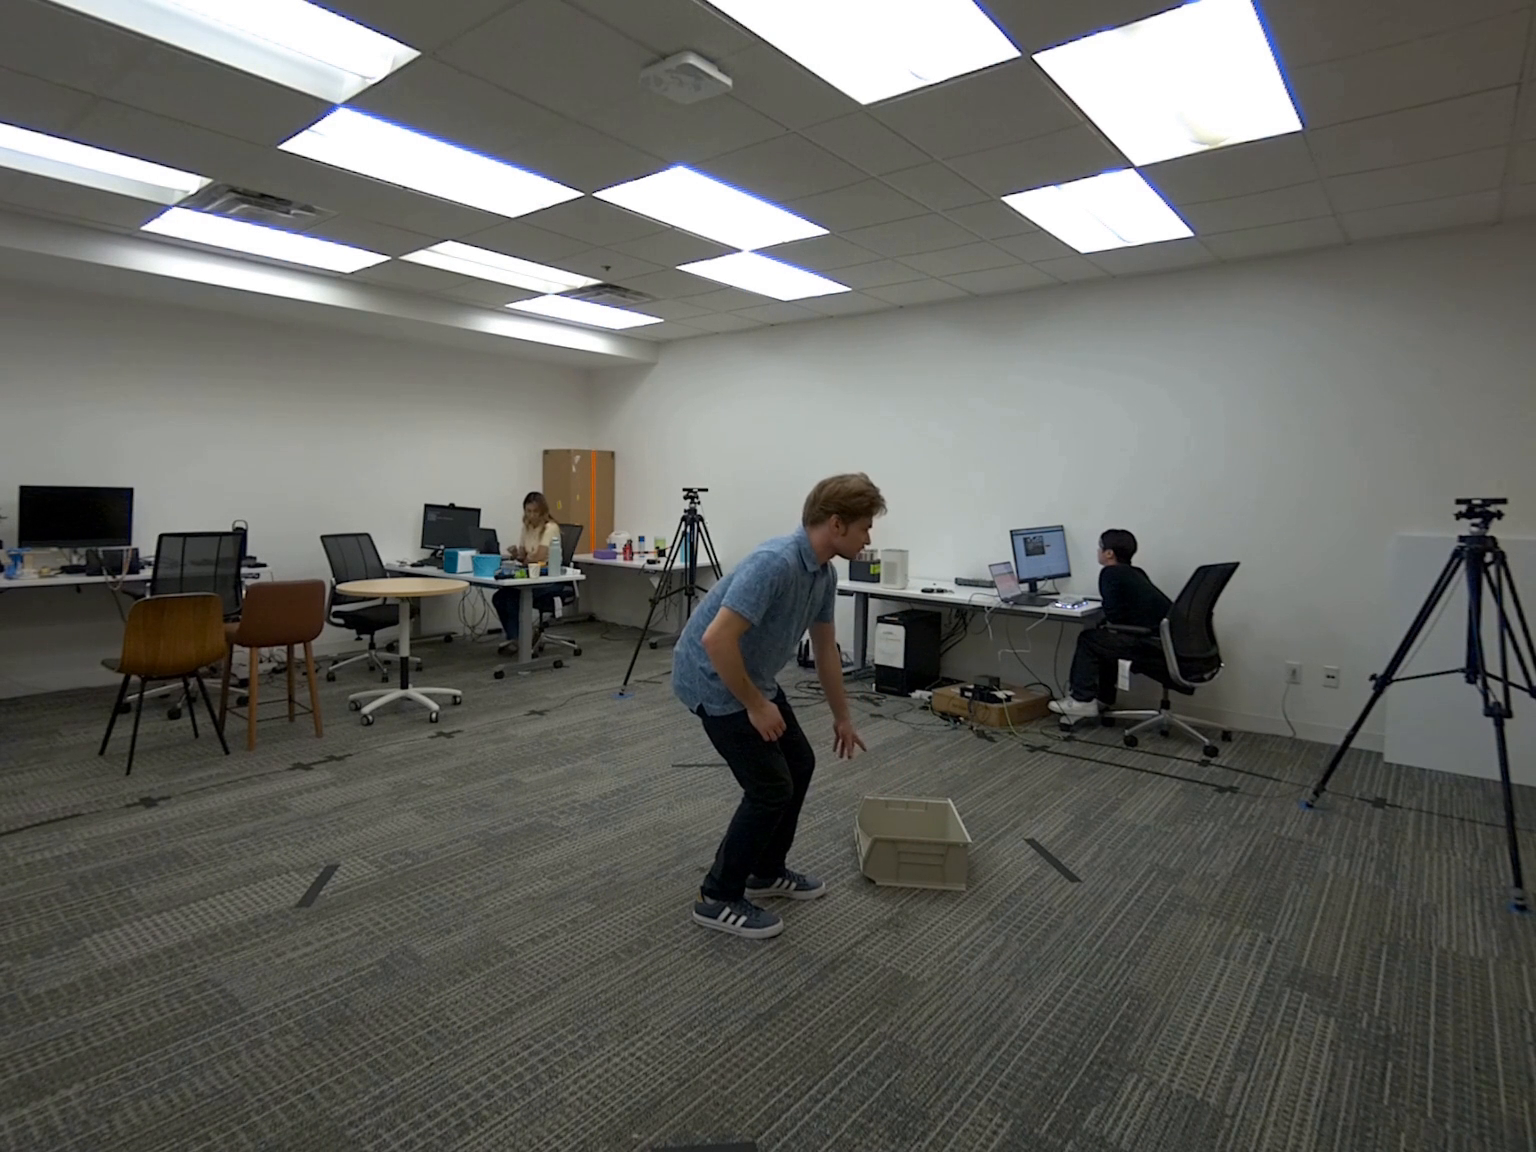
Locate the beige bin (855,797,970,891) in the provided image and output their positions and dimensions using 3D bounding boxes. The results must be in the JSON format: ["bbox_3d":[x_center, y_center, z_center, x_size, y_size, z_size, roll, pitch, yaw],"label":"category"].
[{"bbox_3d":[0.524,0.989,3.201,0.379,0.188,0.422,2,4,3],"label":"beige bin"}]
